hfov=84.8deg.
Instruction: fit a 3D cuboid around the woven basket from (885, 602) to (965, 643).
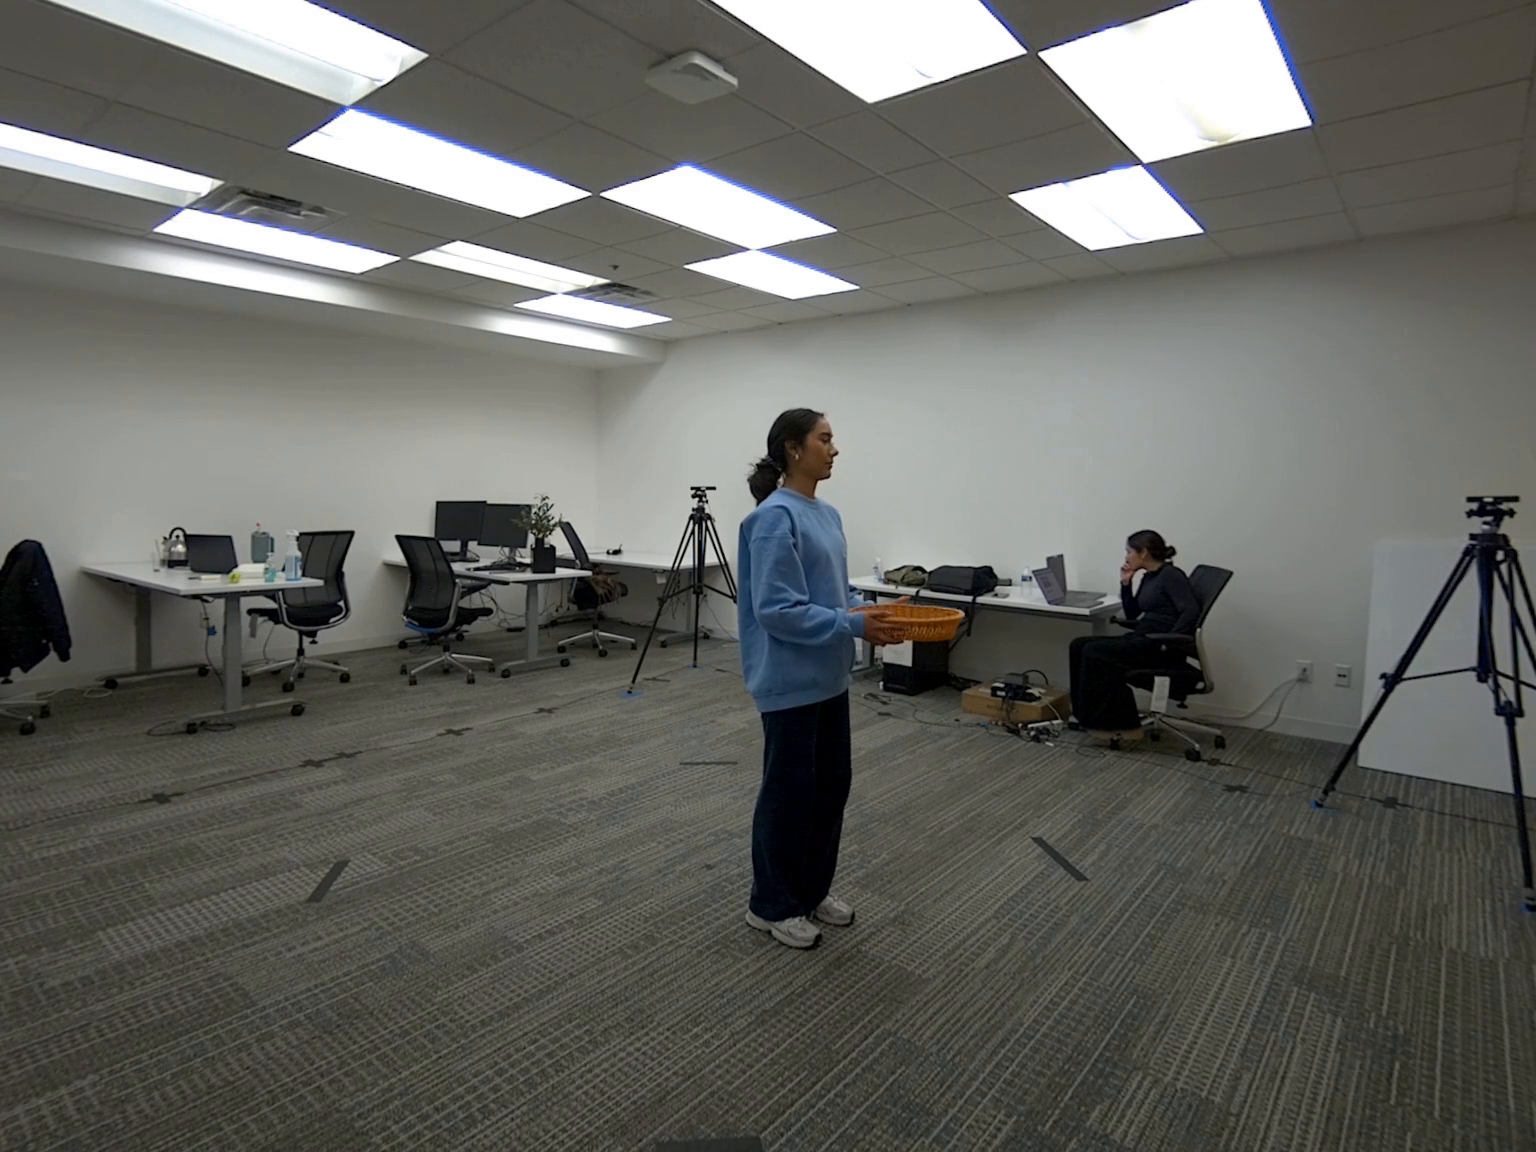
[{"bbox_3d":[0.395,0.146,2.501,0.245,0.073,0.362,-9,10,-42],"label":"woven basket"}]
